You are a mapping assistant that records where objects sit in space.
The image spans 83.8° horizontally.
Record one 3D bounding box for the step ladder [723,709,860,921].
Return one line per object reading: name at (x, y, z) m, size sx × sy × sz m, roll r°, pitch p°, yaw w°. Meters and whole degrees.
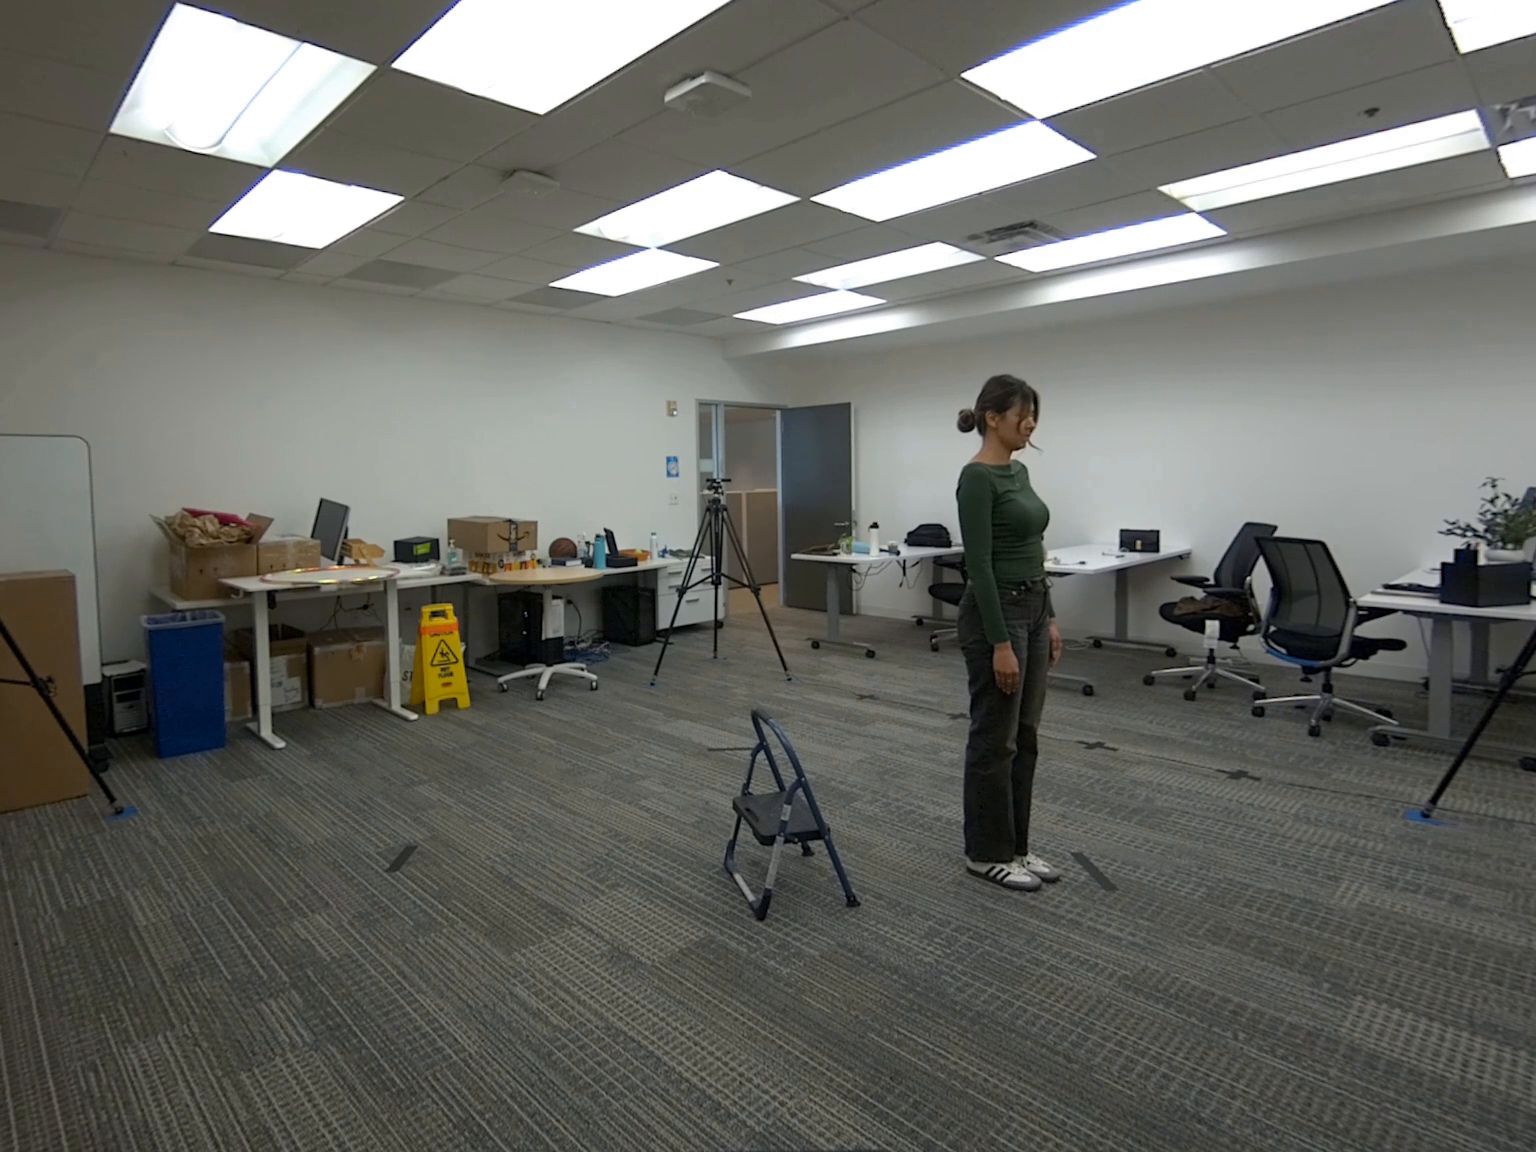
step ladder at (0.069, 0.760, 2.920) m, size 0.344 × 0.604 × 0.439 m, roll -1°, pitch 4°, yaw -18°
